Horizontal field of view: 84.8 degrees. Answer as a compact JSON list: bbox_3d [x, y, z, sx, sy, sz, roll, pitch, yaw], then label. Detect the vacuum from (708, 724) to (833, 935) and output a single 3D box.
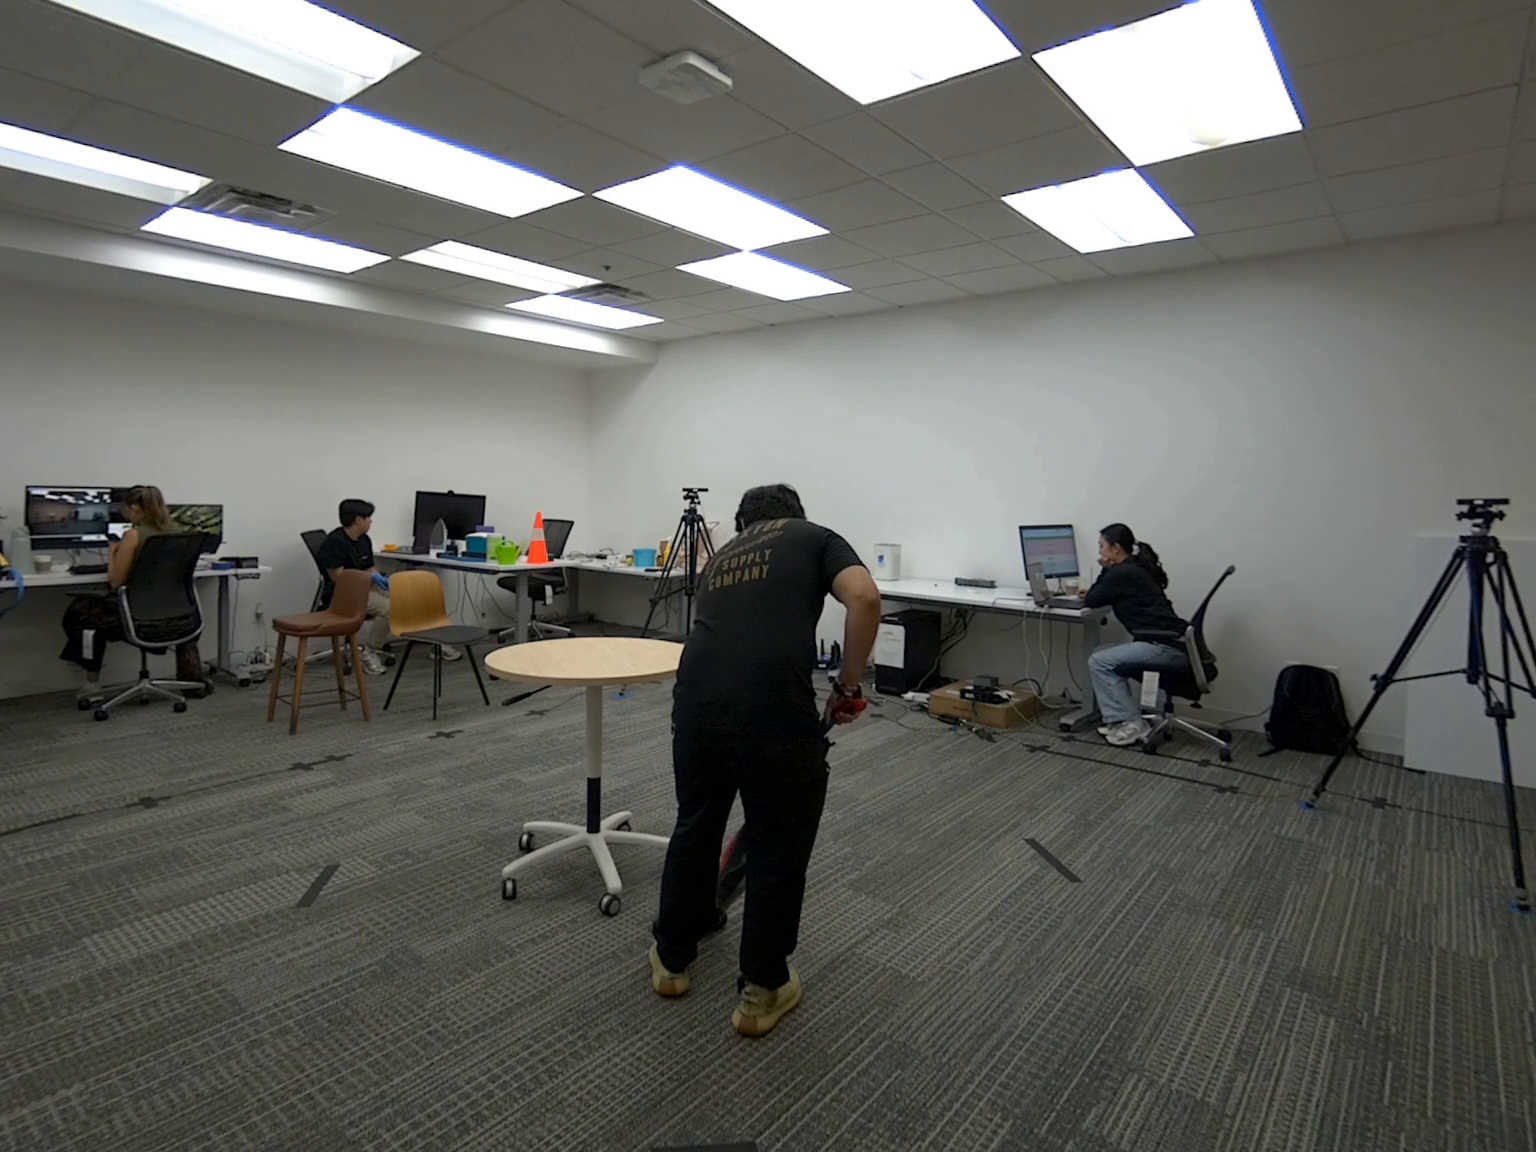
[{"bbox_3d":[-0.010,0.712,2.464,0.244,1.041,0.150,1,42,-40],"label":"vacuum"}]
